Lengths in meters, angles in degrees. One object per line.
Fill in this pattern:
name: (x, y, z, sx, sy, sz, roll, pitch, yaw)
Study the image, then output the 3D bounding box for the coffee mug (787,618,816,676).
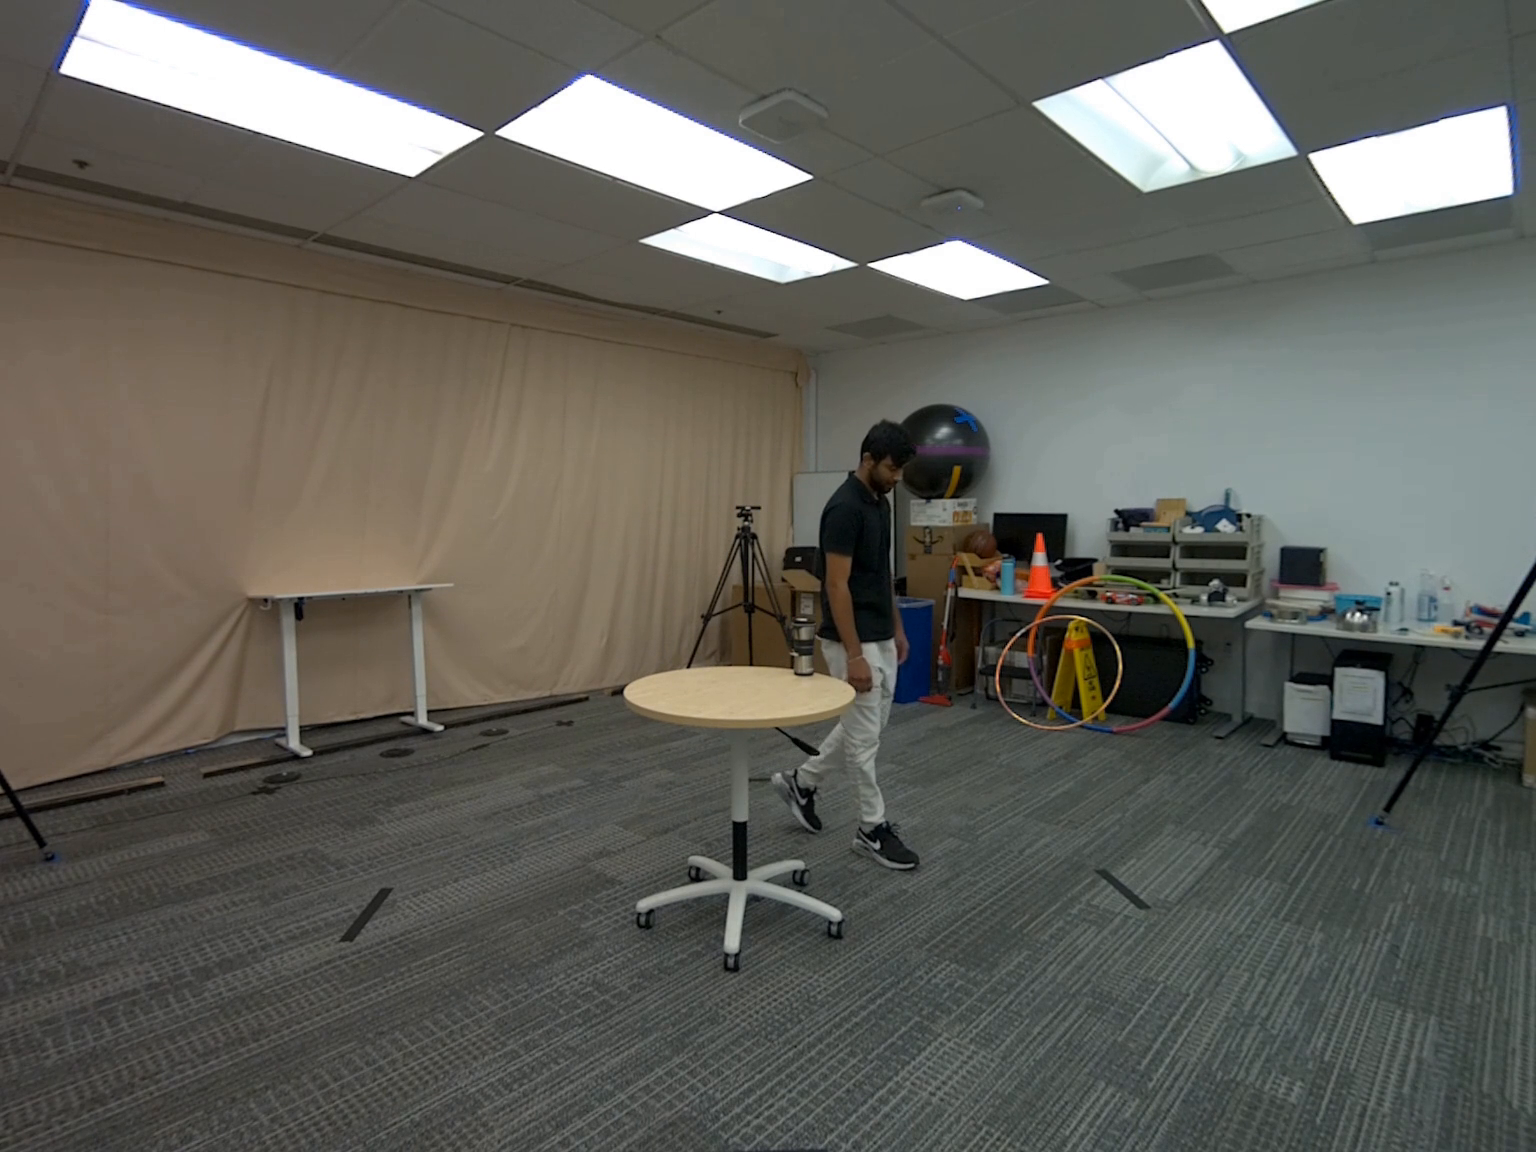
coffee mug: (0.118, 0.254, 3.035, 0.126, 0.202, 0.085, 6, 10, 42)
